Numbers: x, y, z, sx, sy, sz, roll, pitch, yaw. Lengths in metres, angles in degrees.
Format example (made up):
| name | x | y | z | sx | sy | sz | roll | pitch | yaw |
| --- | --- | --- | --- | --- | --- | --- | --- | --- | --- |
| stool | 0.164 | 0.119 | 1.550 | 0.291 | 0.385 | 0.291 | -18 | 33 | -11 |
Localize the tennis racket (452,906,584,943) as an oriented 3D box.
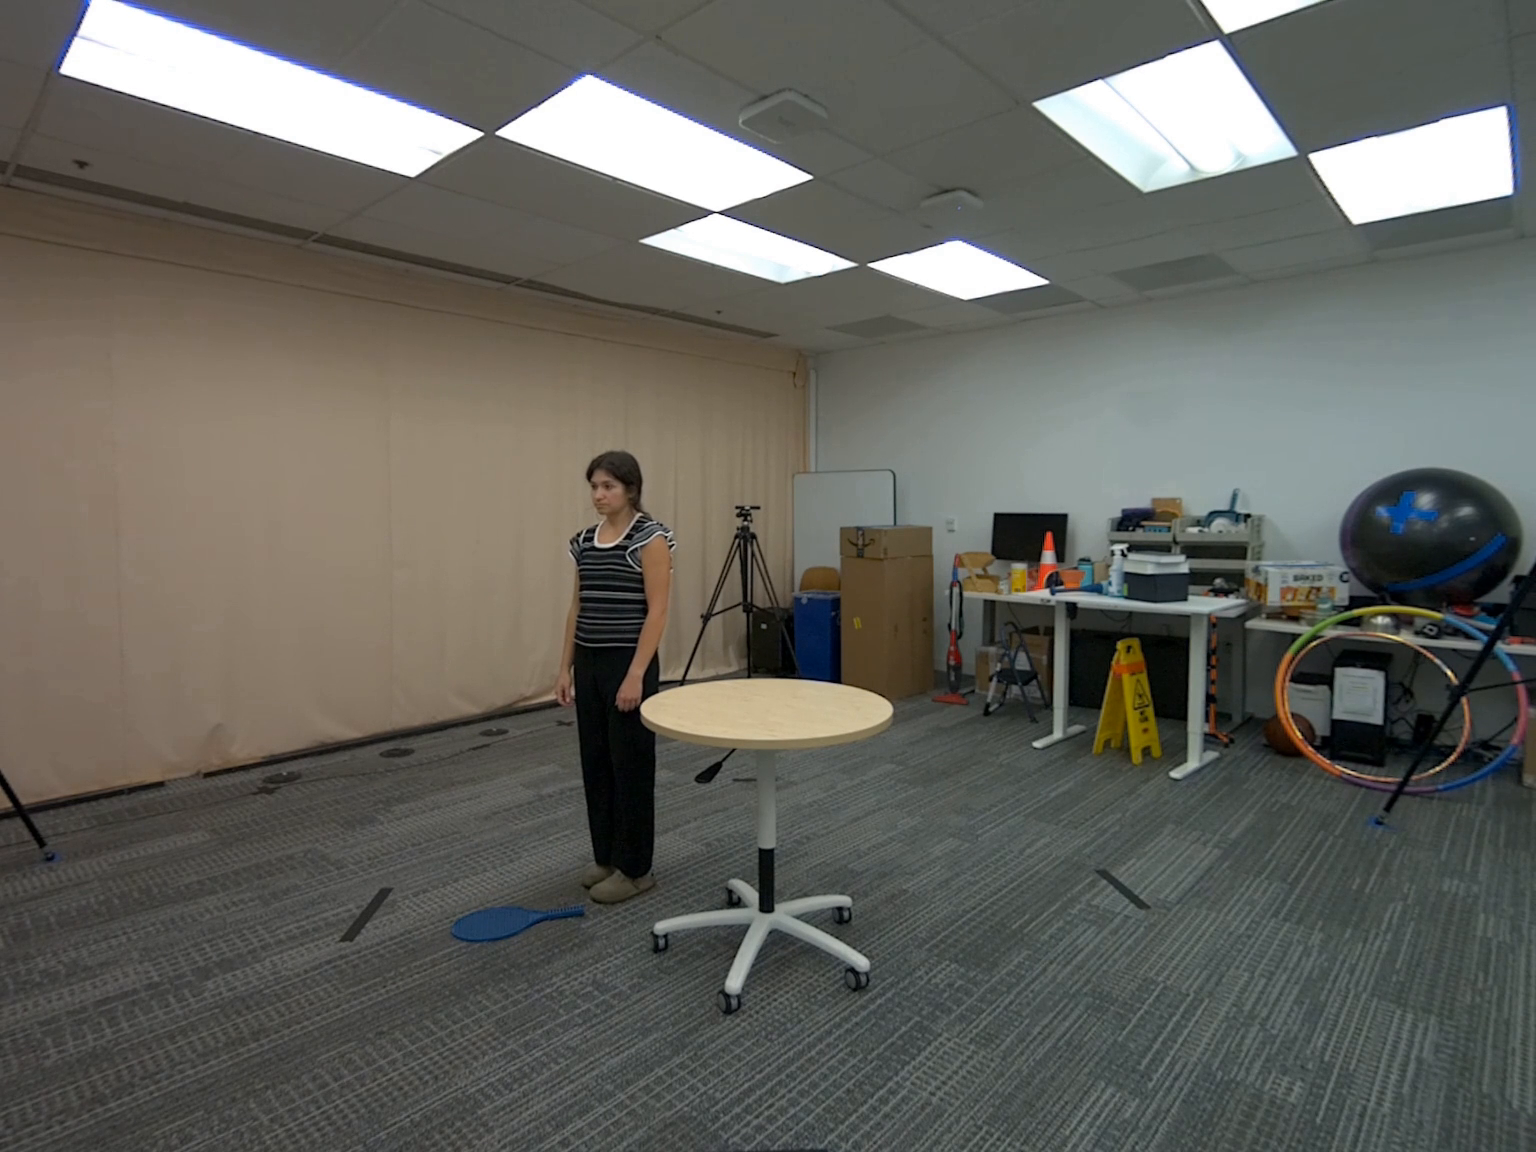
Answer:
| name | x | y | z | sx | sy | sz | roll | pitch | yaw |
| --- | --- | --- | --- | --- | --- | --- | --- | --- | --- |
| tennis racket | -0.835 | 1.152 | 2.823 | 0.426 | 0.032 | 0.218 | -3 | 5 | -16 |
